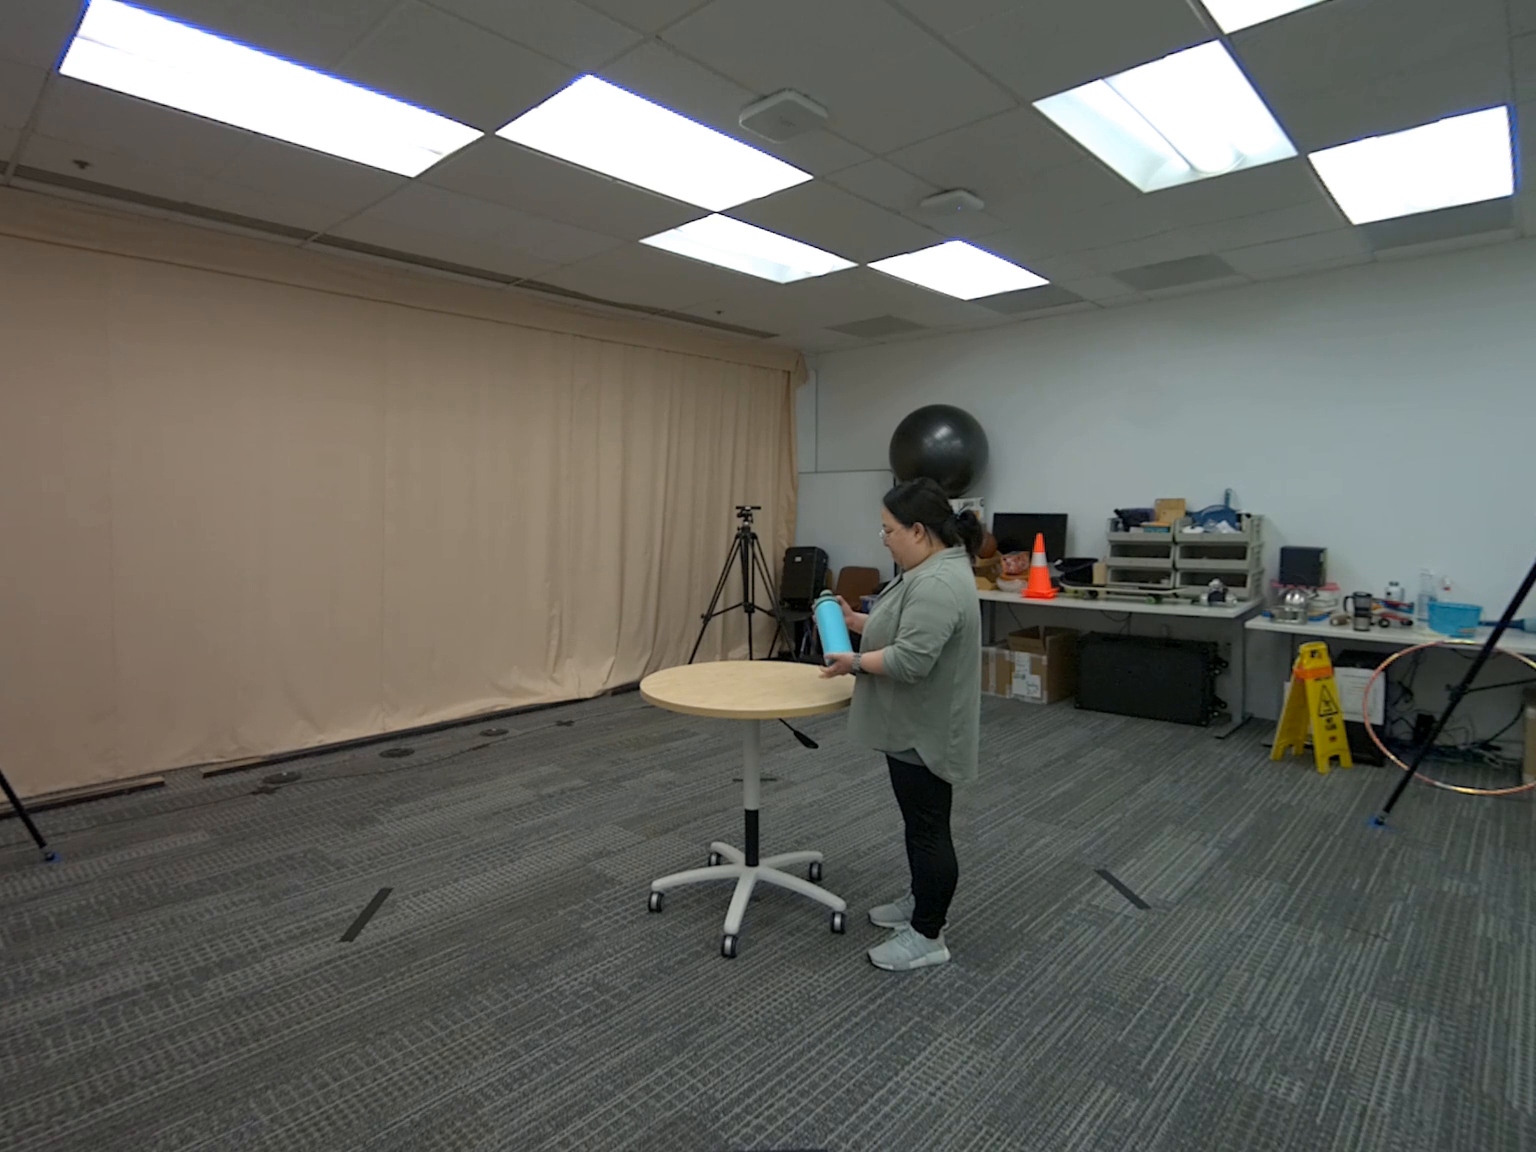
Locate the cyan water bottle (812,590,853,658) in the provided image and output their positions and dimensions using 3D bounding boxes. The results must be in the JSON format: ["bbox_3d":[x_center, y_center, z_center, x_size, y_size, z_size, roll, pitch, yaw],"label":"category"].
[{"bbox_3d":[0.220,0.171,2.690,0.091,0.091,0.290,-1,44,-10],"label":"cyan water bottle"}]
